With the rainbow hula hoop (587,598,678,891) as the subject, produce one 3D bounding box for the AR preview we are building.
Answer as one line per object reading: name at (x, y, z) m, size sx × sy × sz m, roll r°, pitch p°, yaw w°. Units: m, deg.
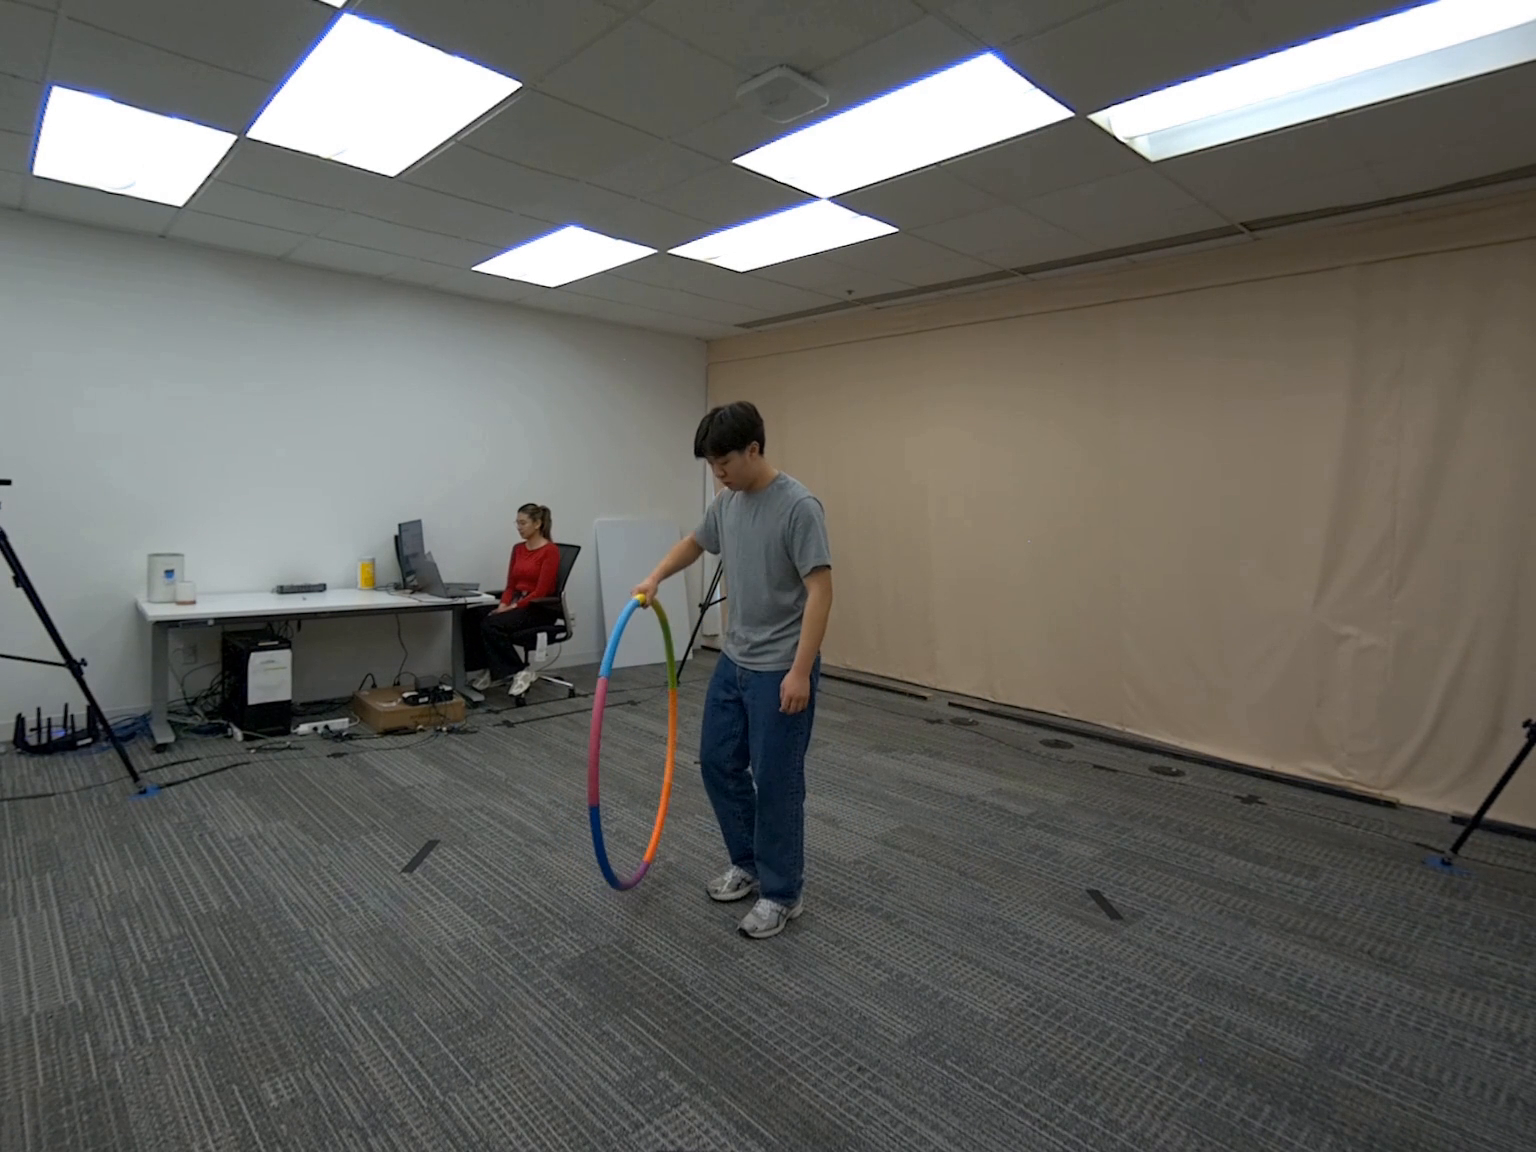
rainbow hula hoop at (-0.456, 0.560, 2.915) m, size 0.036 × 0.976 × 0.973 m, roll 1°, pitch 4°, yaw 9°
